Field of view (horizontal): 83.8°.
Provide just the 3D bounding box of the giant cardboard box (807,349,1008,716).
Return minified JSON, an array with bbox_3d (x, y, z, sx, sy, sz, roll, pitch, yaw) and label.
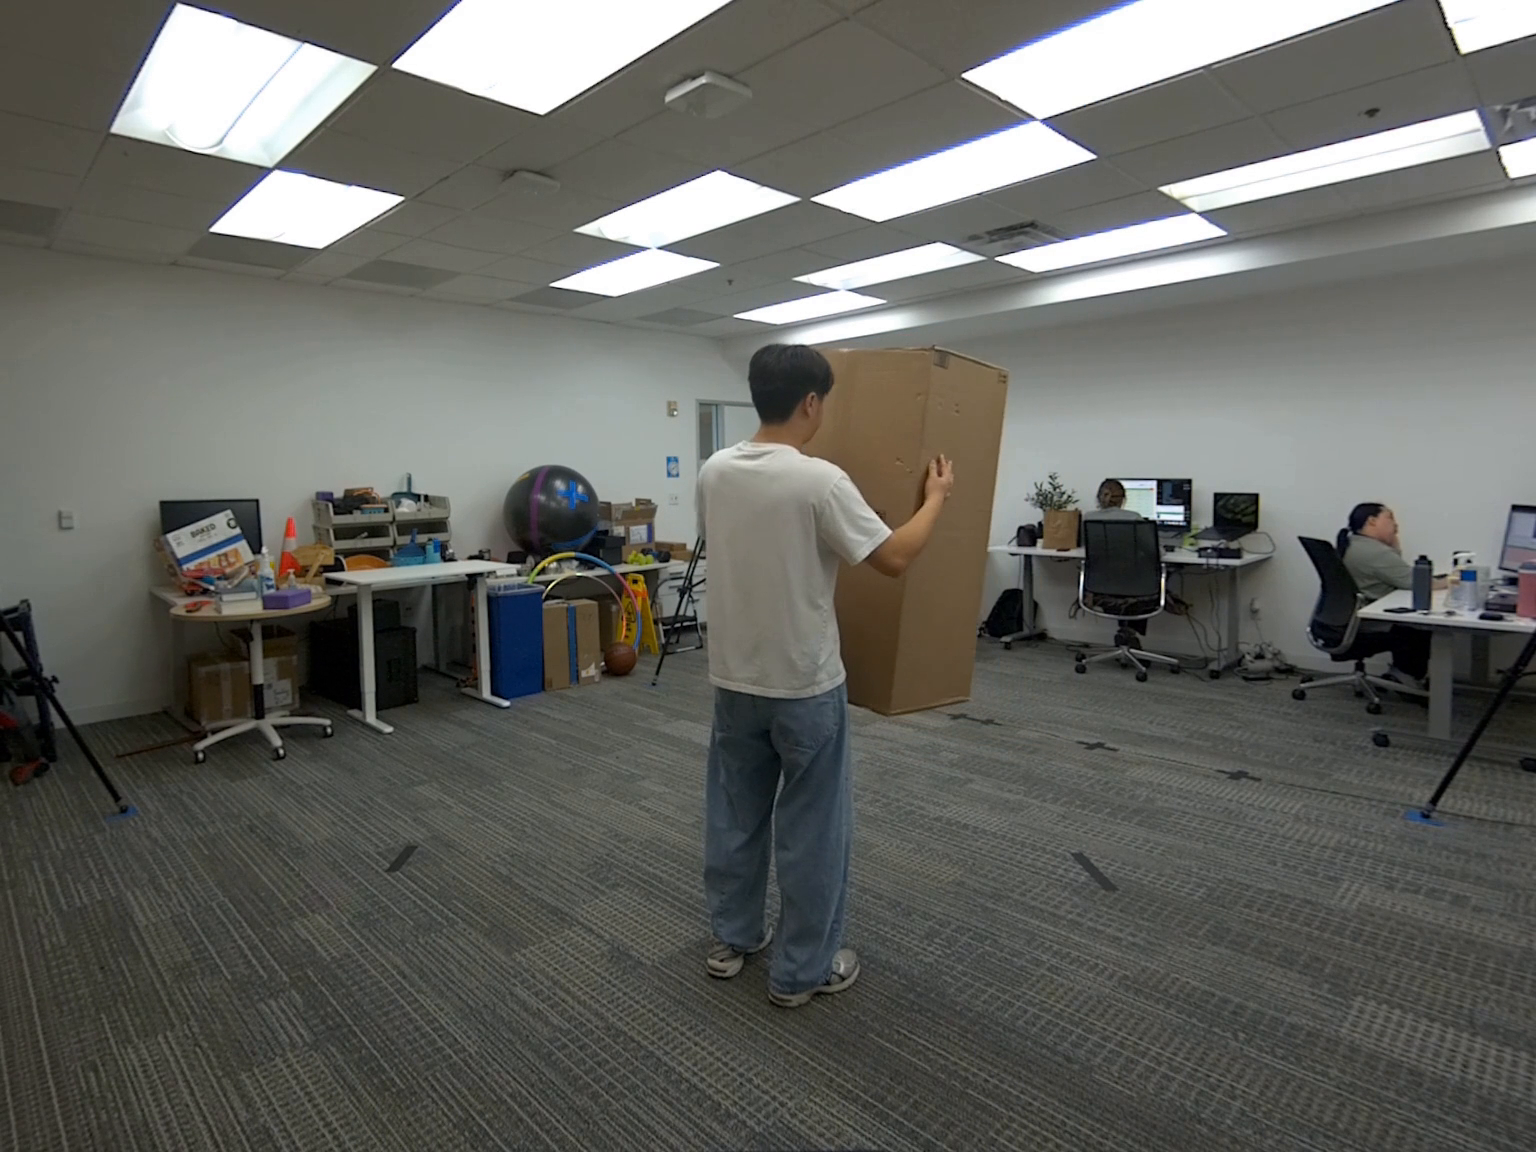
[{"bbox_3d":[0.335,-0.152,2.674,0.597,1.022,0.413,10,6,44],"label":"giant cardboard box"}]
